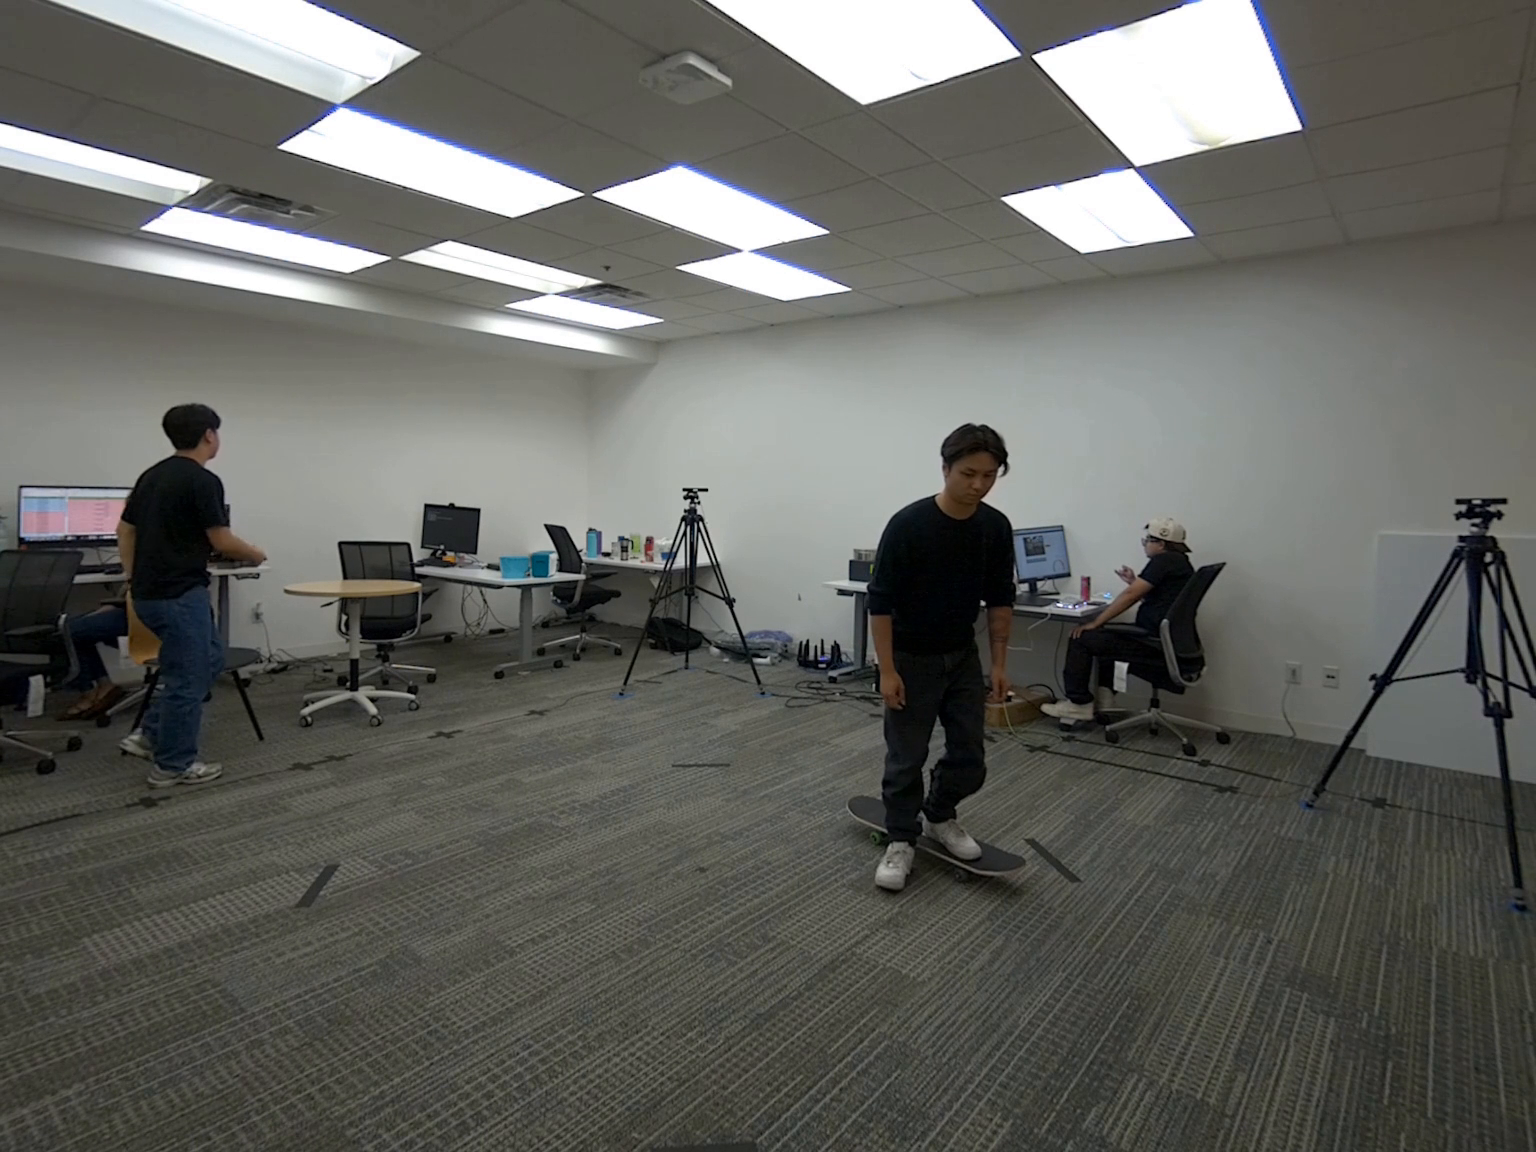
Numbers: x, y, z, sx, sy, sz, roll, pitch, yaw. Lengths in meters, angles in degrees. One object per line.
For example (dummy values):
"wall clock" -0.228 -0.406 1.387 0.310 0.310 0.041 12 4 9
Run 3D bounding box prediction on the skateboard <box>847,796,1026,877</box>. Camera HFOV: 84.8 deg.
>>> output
"skateboard" 0.616 1.018 3.269 0.188 0.109 0.813 -9 12 -40
